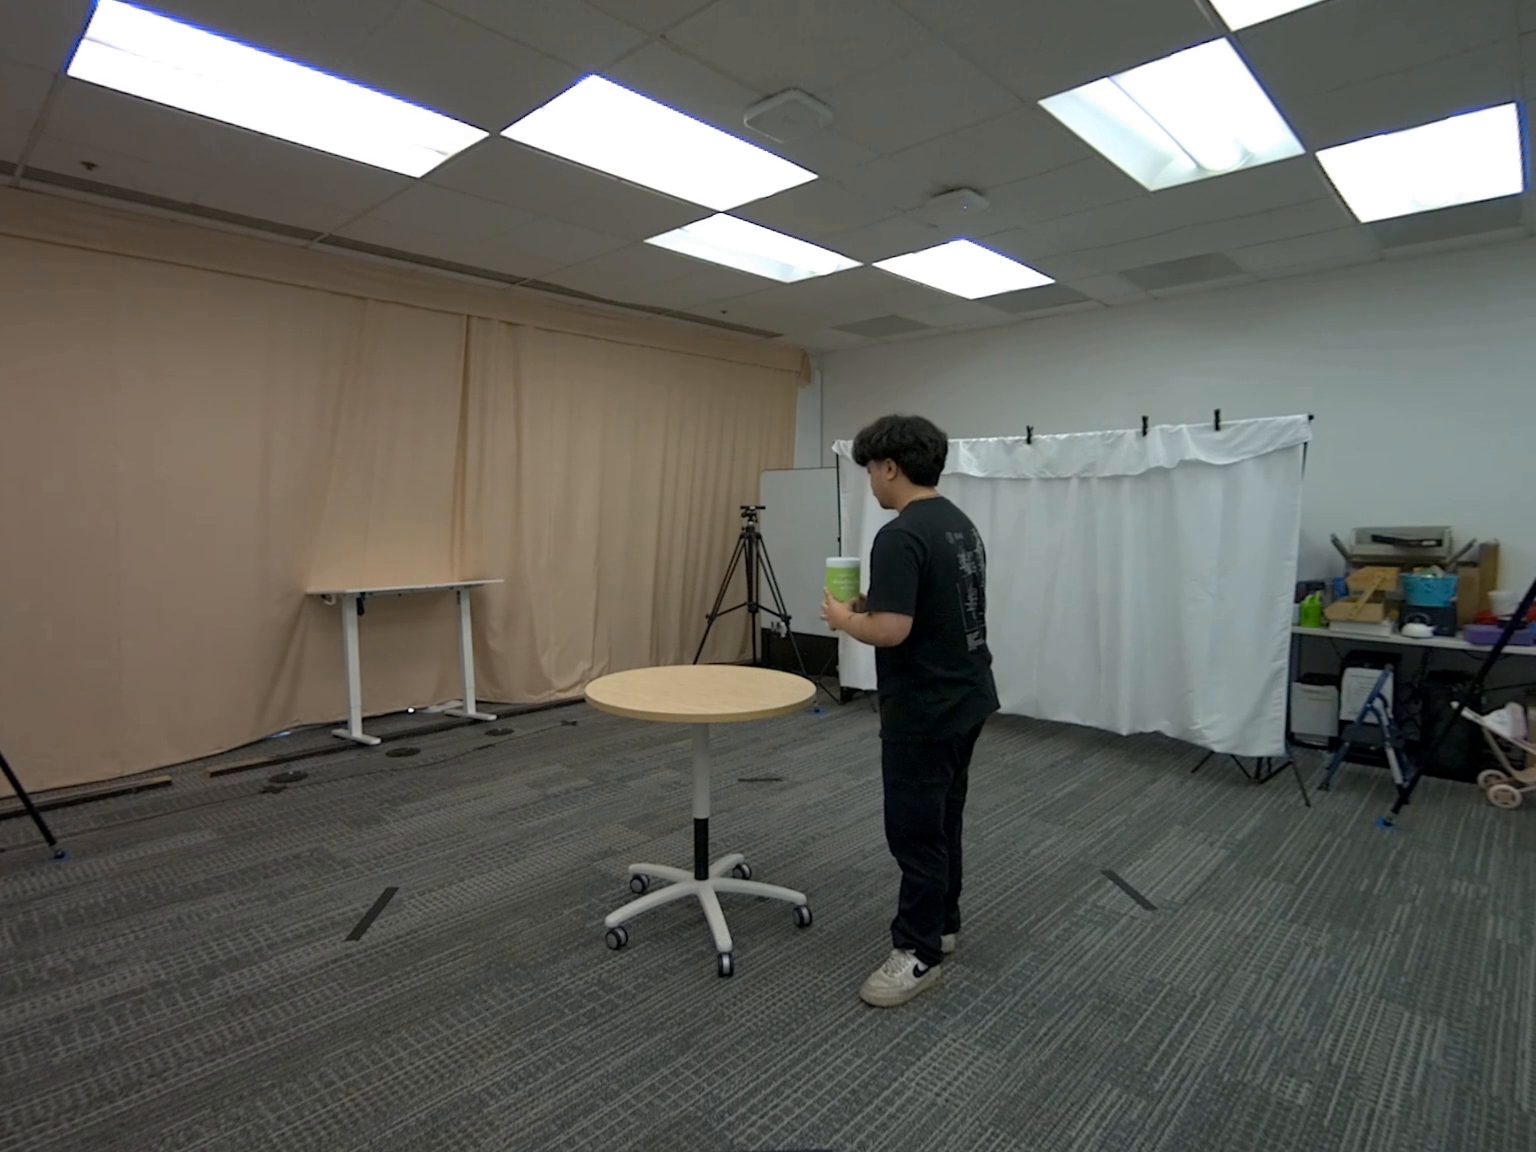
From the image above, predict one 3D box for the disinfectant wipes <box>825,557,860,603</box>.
[{"bbox_3d":[0.236,0.054,2.647,0.118,0.217,0.118,-2,3,-2],"label":"disinfectant wipes"}]
